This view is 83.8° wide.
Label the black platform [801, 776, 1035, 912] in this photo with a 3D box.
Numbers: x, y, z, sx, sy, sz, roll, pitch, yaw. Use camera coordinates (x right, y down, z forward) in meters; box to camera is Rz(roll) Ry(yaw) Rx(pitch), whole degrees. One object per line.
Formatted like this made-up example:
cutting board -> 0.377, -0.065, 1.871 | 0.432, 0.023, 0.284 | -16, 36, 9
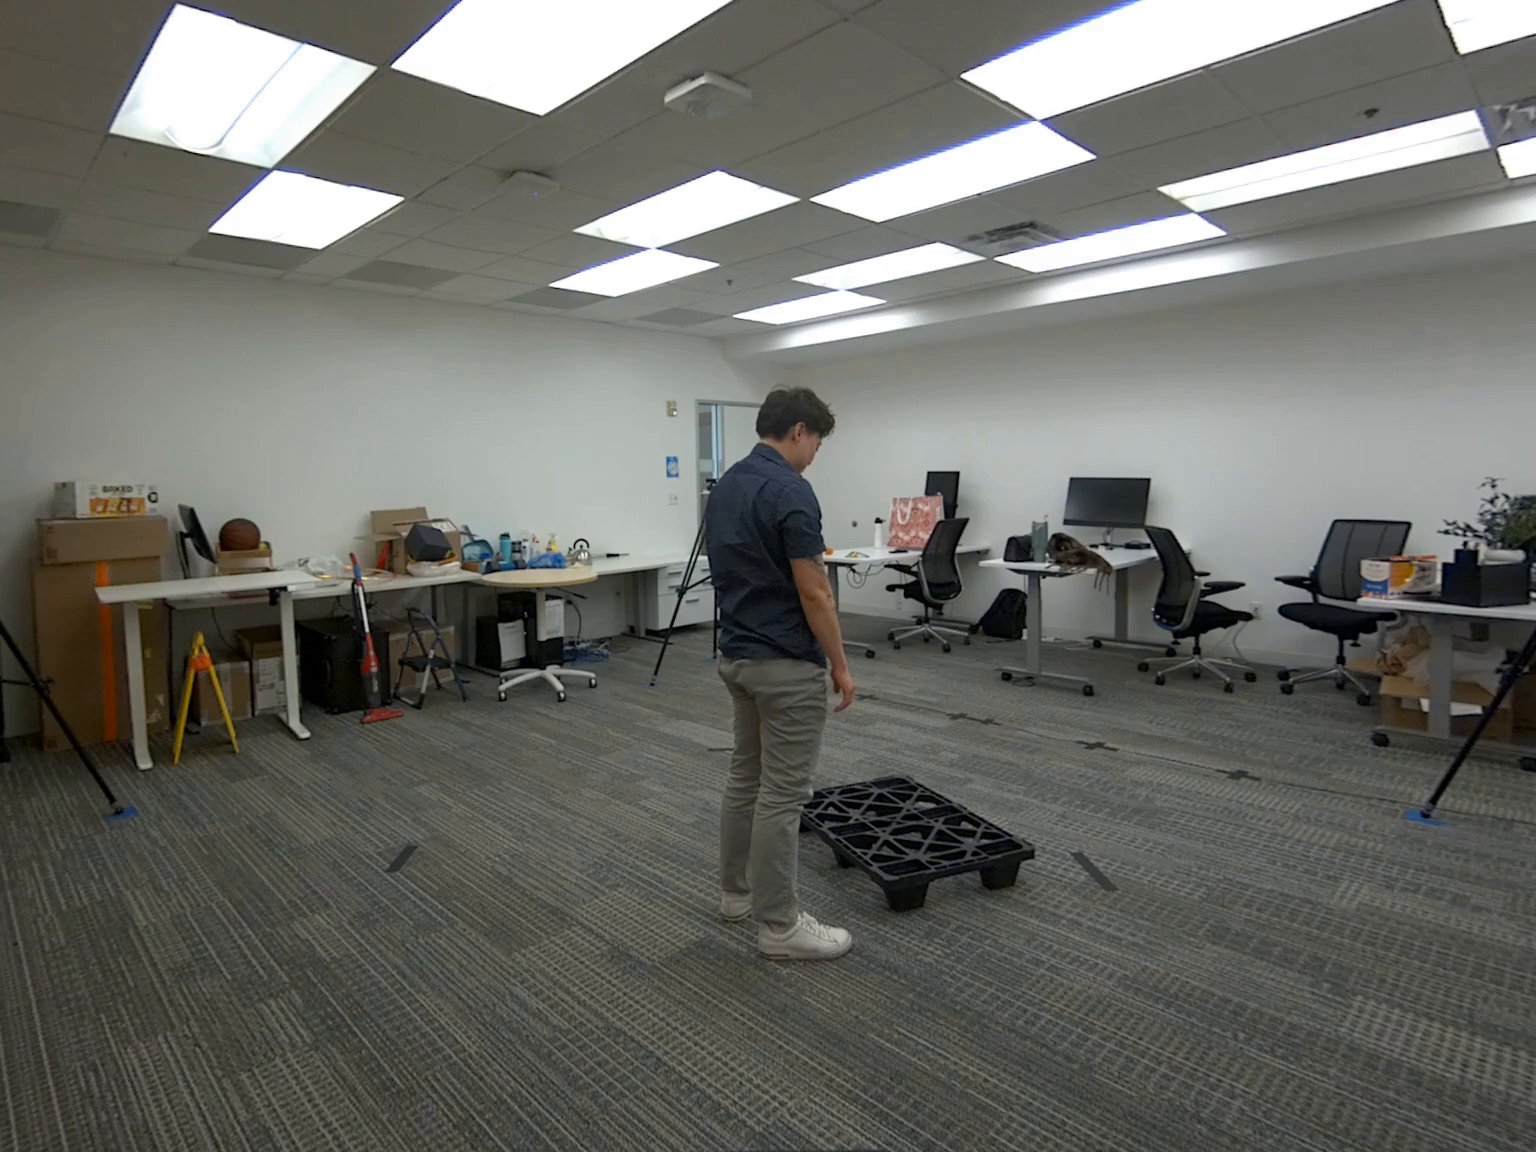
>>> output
black platform -> 0.479, 0.964, 3.159 | 0.593, 0.143, 0.825 | -3, 7, -23
